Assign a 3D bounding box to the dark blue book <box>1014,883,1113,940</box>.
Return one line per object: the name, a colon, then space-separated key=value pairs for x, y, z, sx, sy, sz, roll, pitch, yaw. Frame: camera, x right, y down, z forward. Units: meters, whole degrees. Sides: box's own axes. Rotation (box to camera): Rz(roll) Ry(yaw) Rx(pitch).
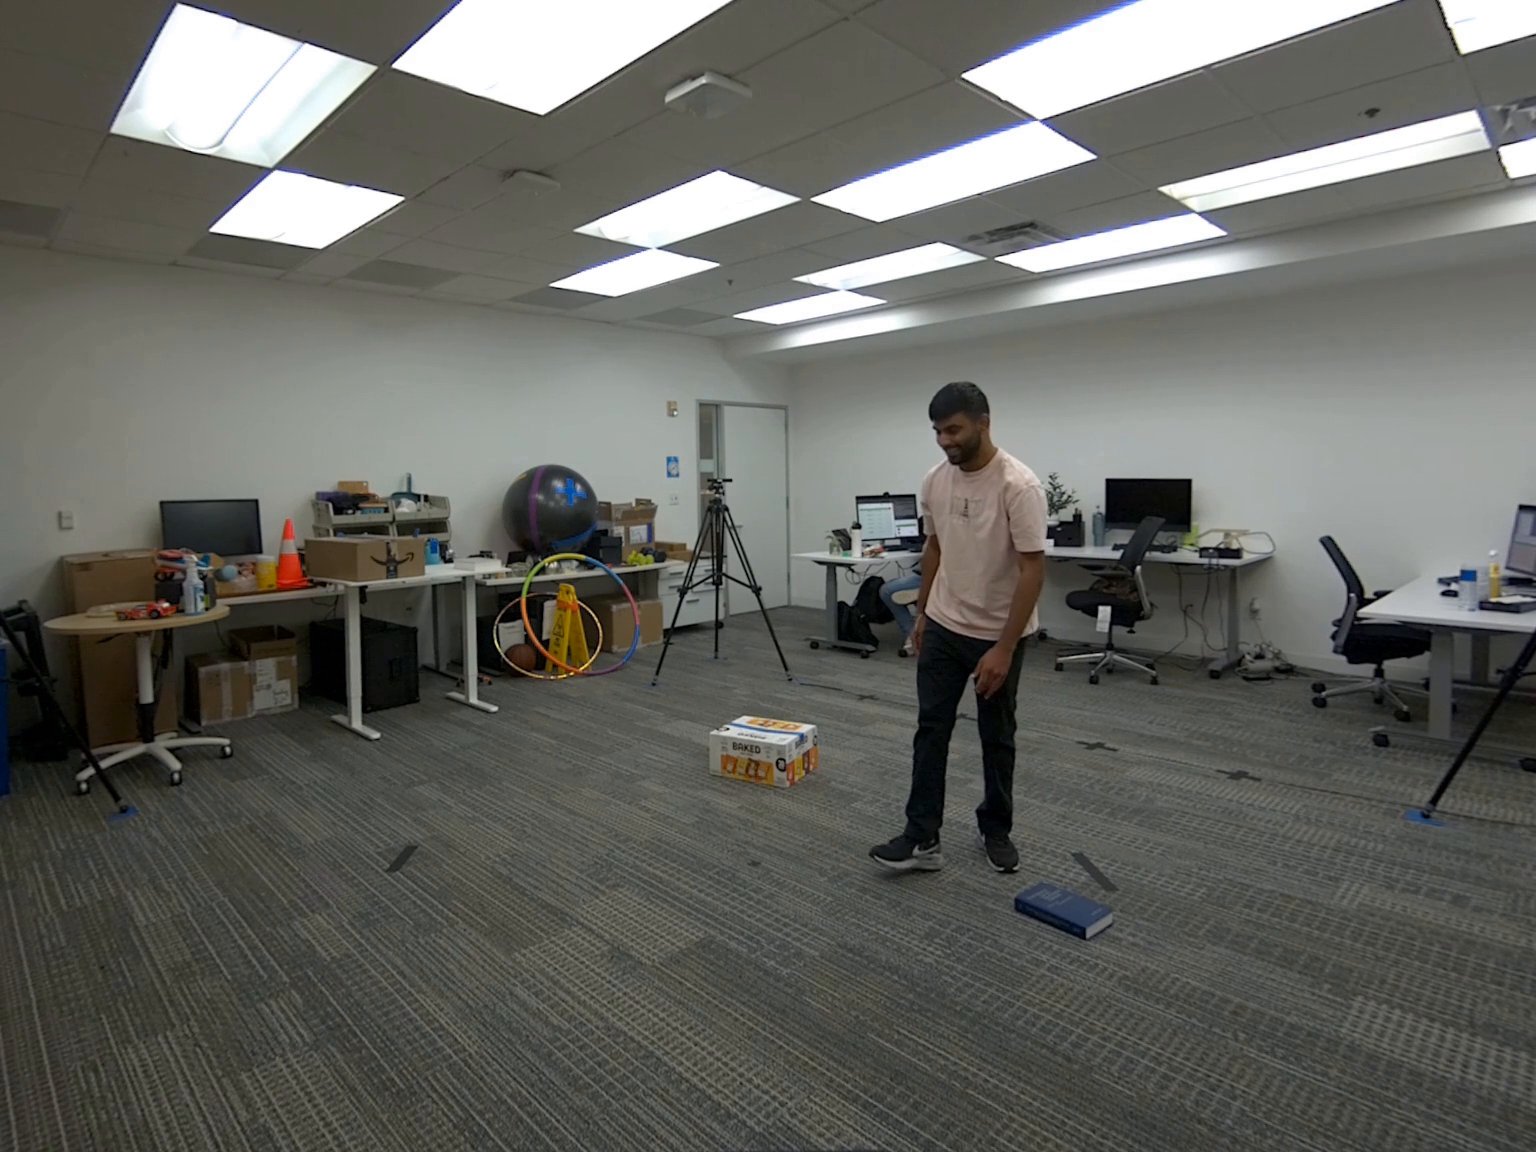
dark blue book: x=0.933 y=1.056 z=2.693 sx=0.159 sy=0.045 sz=0.252 roll=-6 pitch=8 yaw=-39
